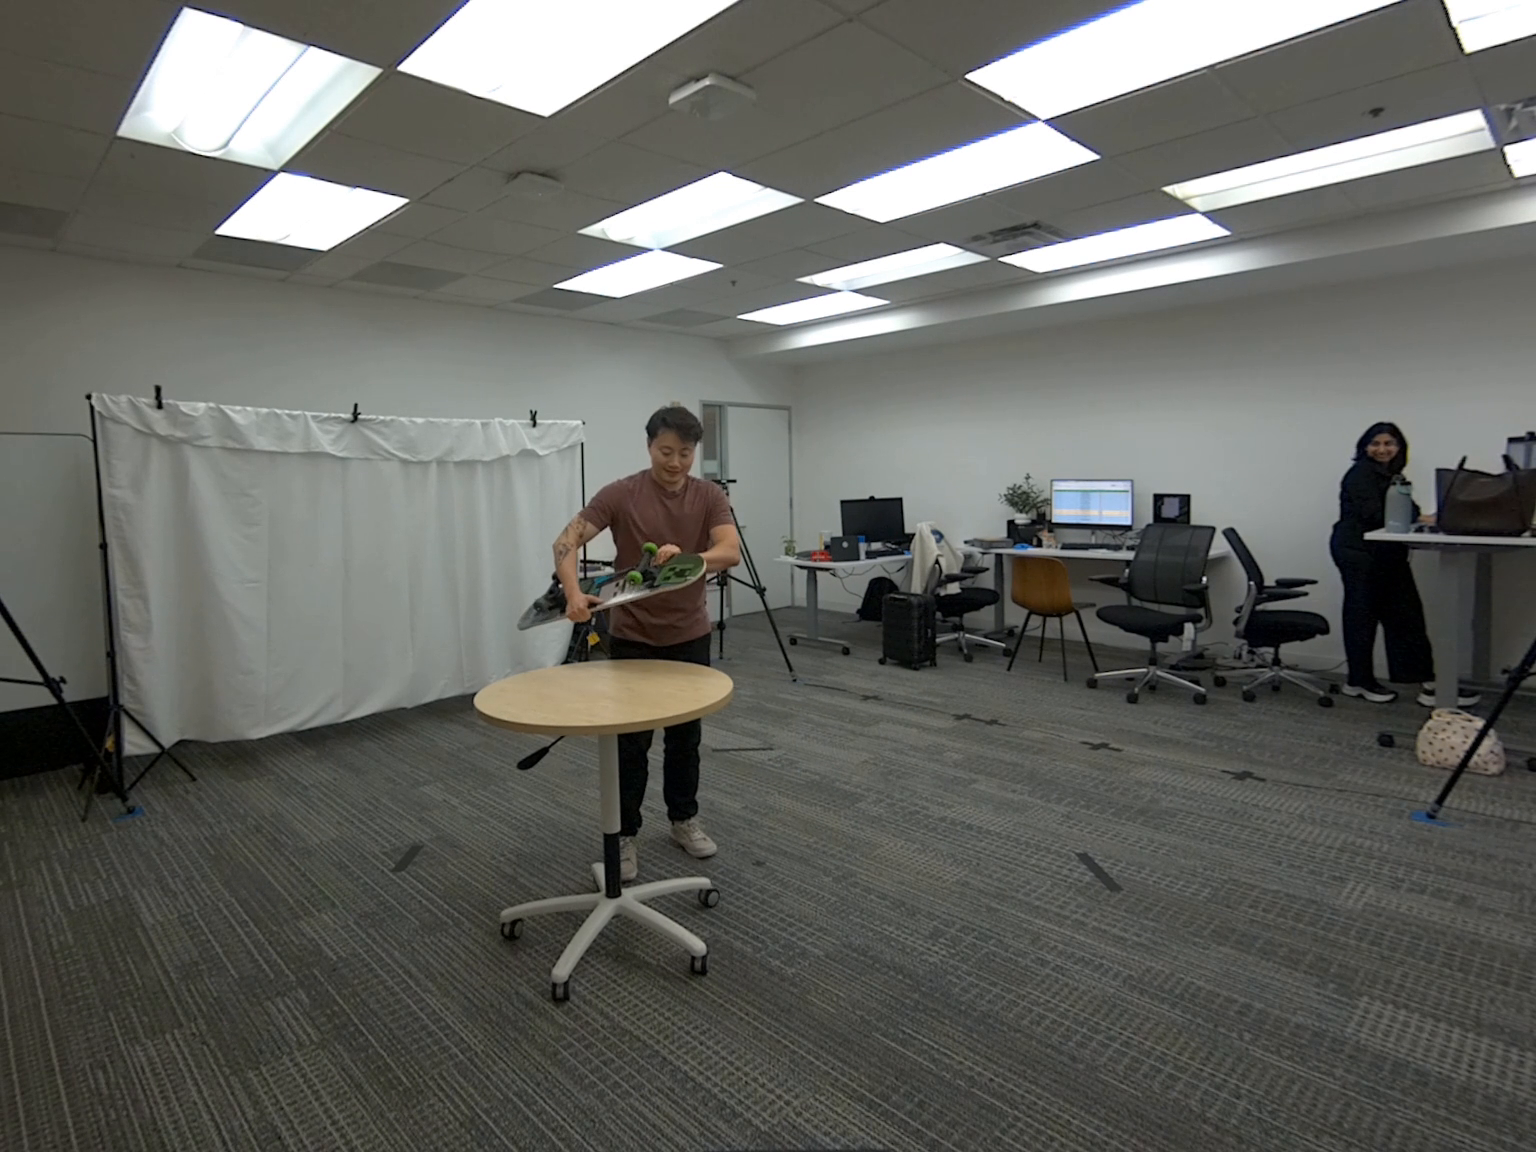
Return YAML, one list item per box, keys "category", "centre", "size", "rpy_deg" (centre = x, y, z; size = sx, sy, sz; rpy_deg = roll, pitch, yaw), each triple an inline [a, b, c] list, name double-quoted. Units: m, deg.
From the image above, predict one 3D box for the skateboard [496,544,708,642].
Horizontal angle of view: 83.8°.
- category: "skateboard"
  centre: [-0.553, 0.038, 2.867]
  size: [0.799, 0.107, 0.196]
  rpy_deg: [-15, 33, 28]
